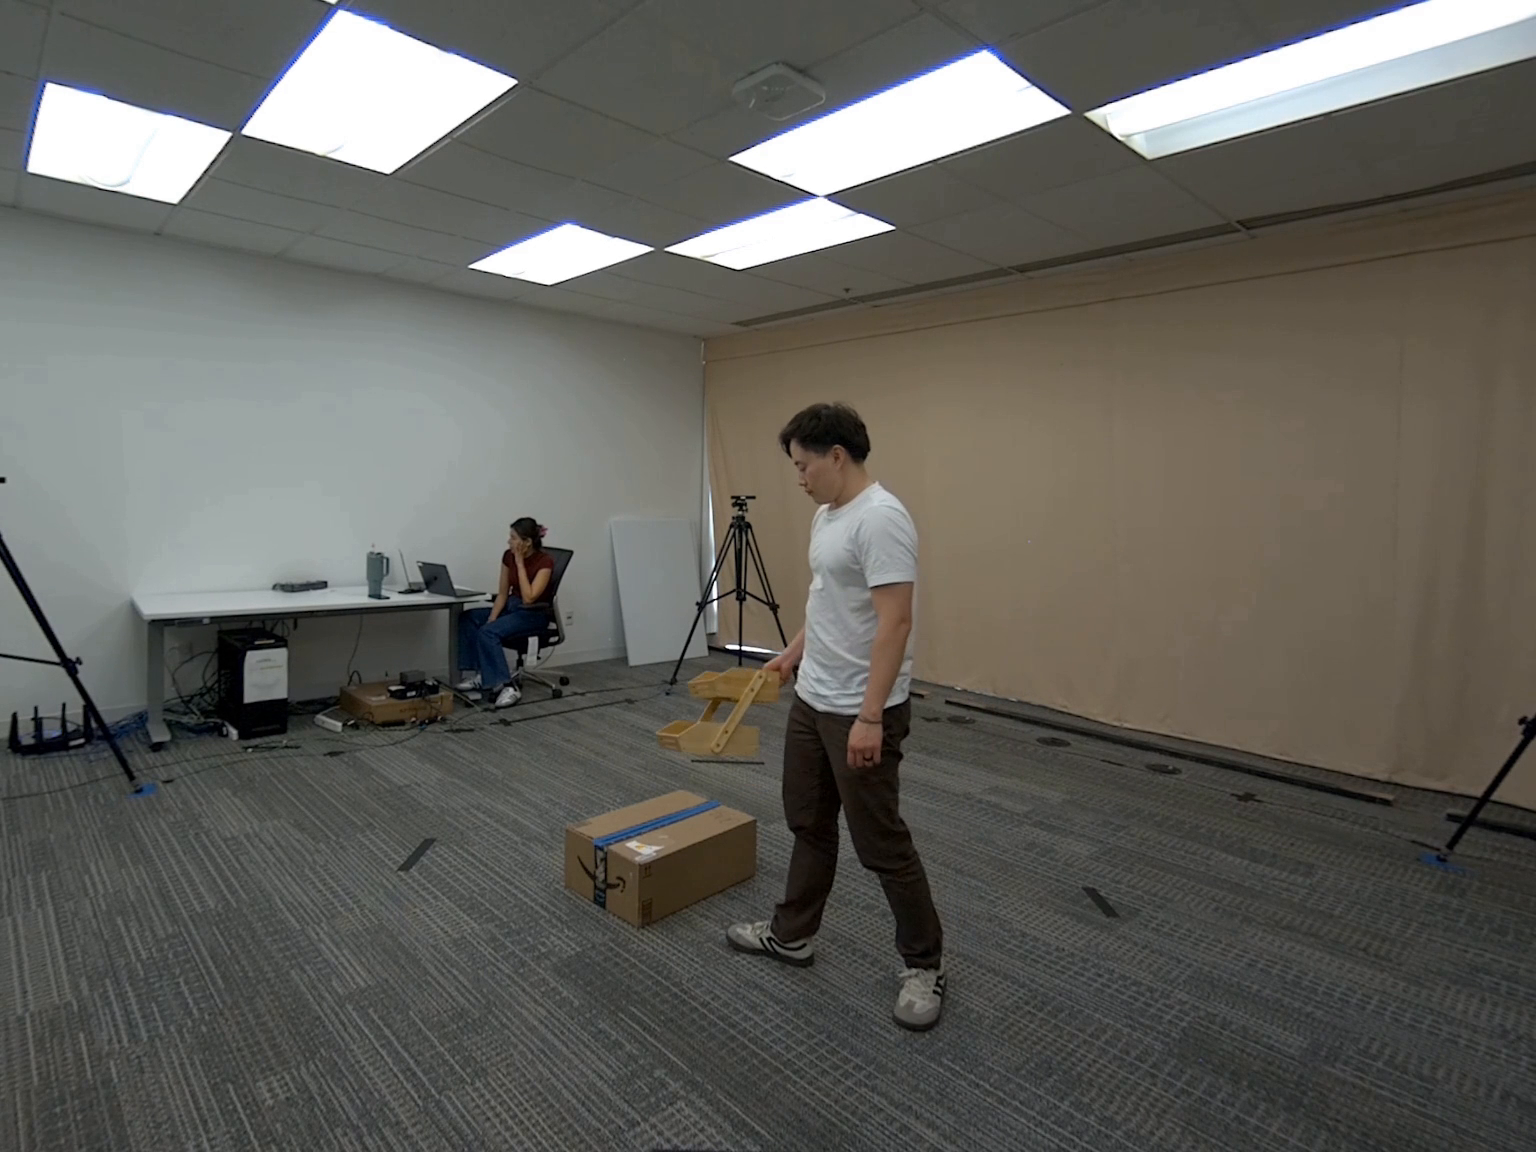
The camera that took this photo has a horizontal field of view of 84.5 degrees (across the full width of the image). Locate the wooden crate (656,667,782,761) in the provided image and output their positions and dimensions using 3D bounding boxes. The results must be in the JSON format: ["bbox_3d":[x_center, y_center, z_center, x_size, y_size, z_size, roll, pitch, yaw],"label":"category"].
[{"bbox_3d":[-0.175,0.416,2.632,0.298,0.275,0.326,10,-12,-15],"label":"wooden crate"}]
